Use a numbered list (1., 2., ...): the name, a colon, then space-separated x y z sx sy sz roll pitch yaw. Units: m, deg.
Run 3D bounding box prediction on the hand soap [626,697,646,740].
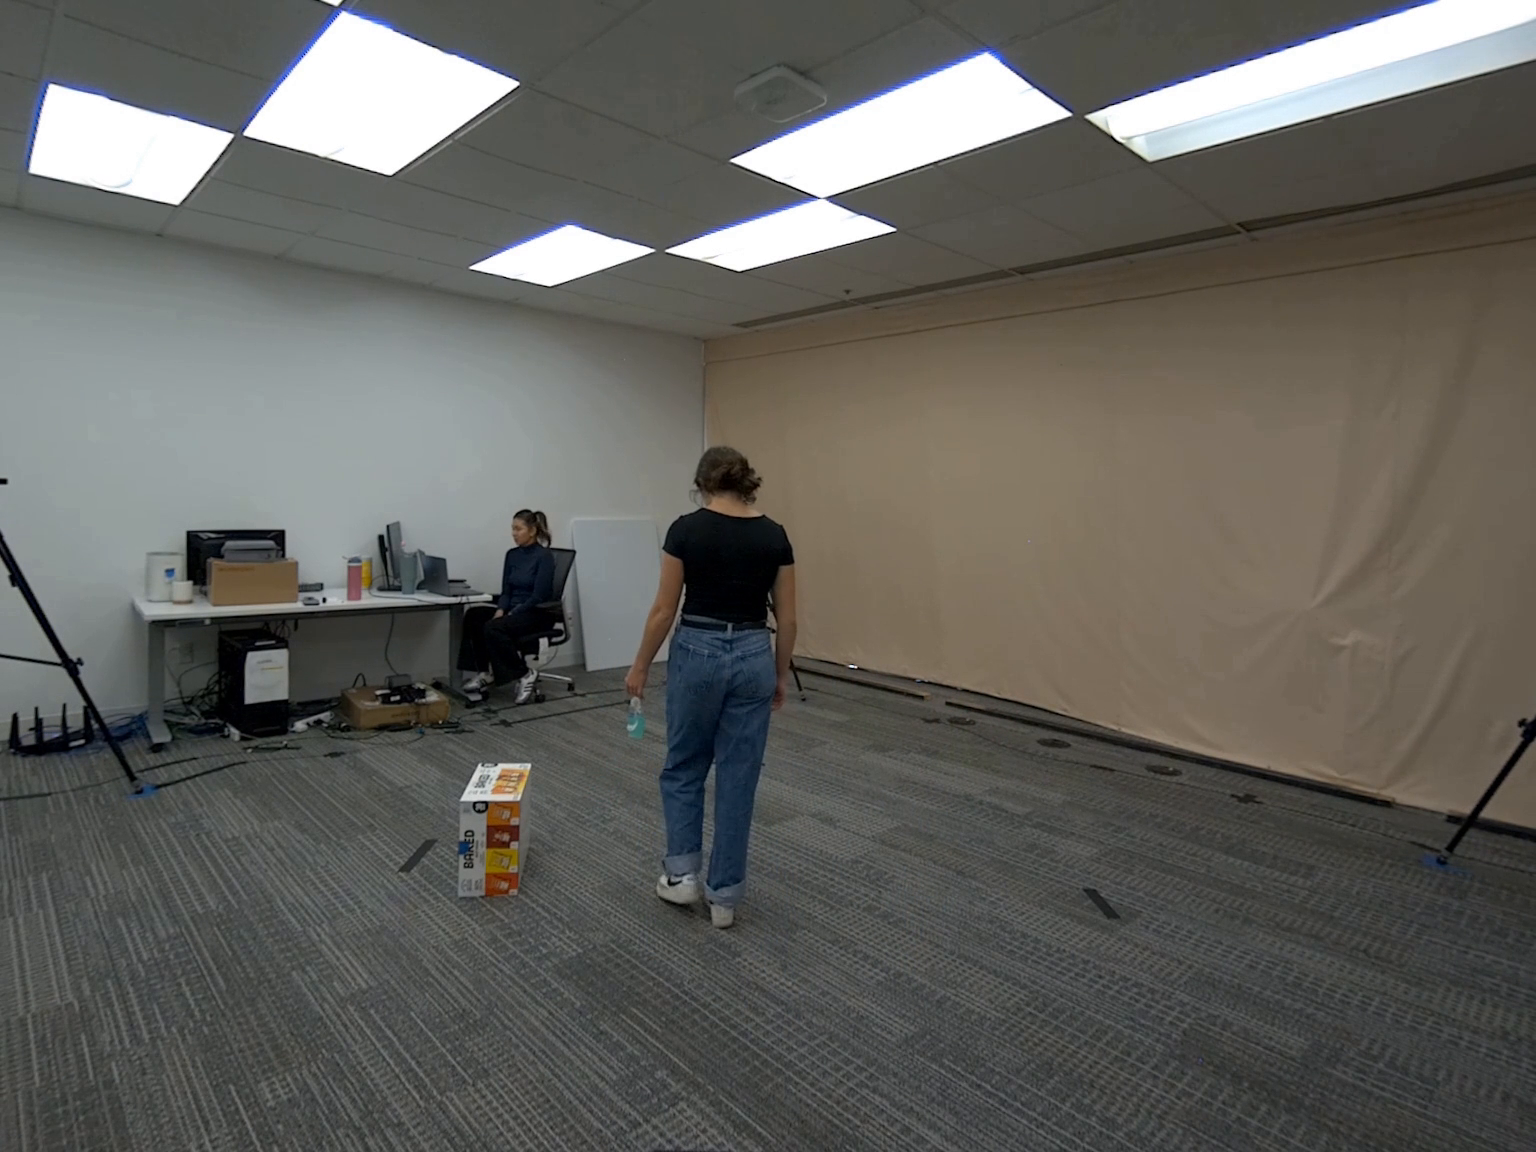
1. hand soap: -0.462 0.480 2.916 0.086 0.168 0.042 -4 -4 43
